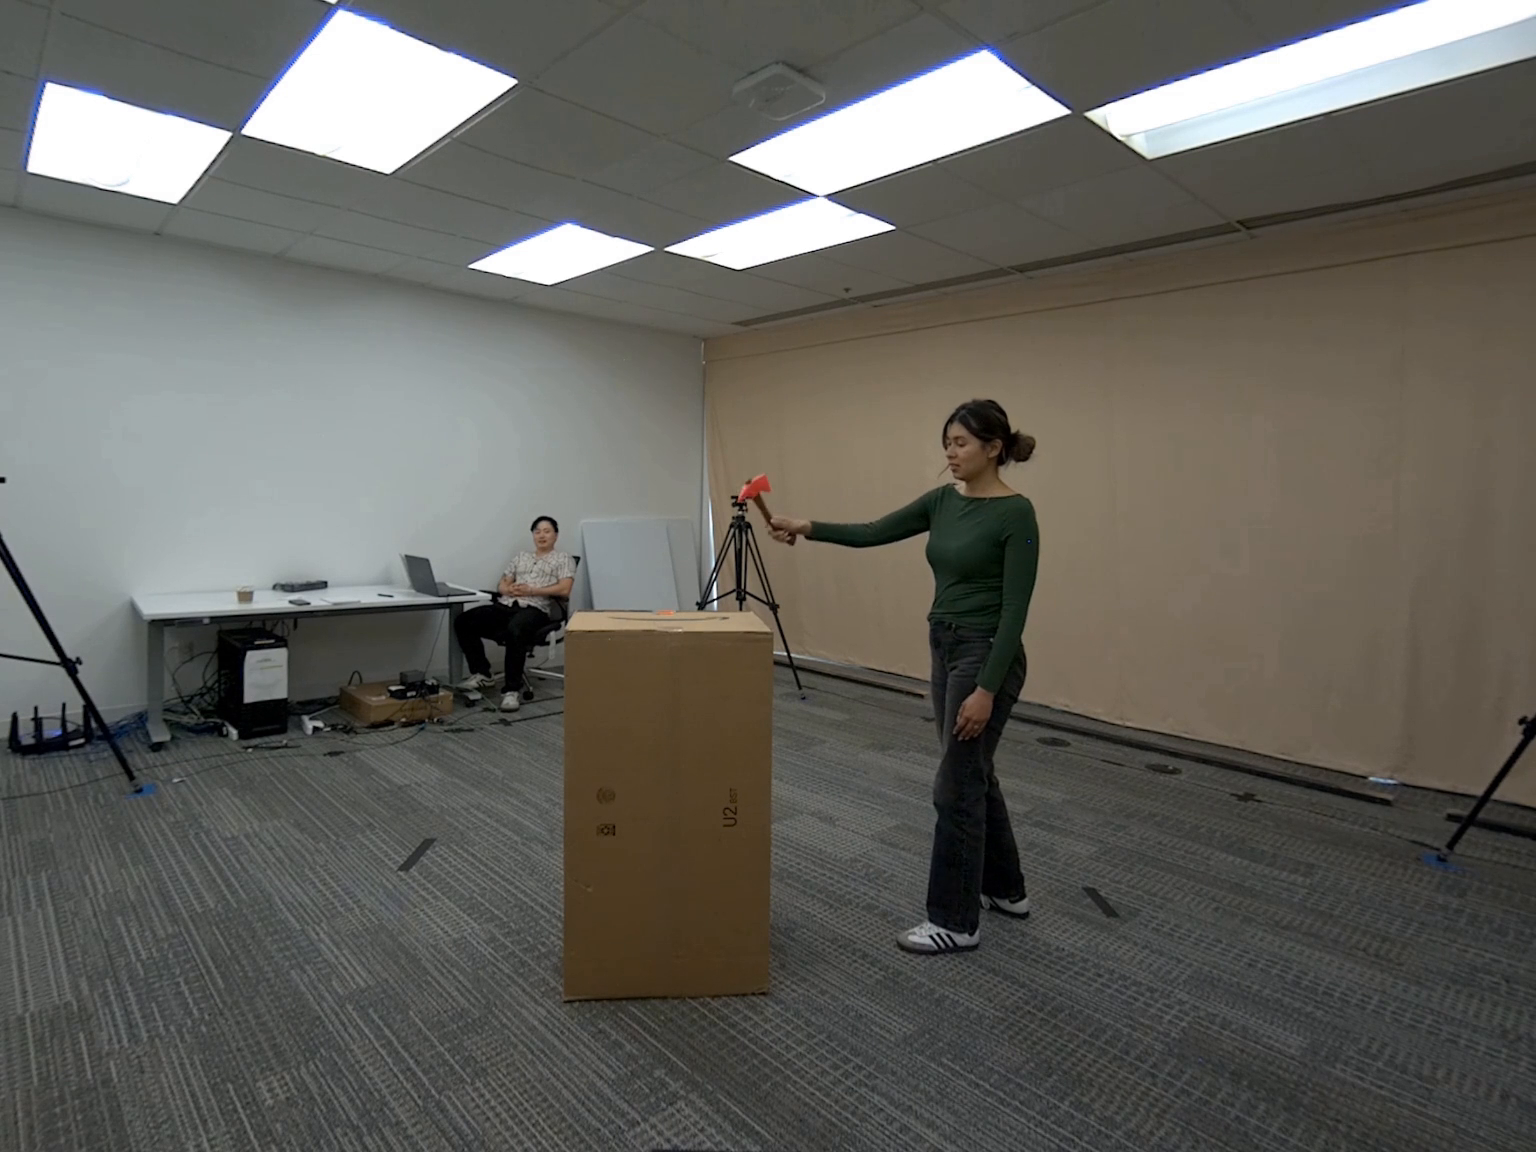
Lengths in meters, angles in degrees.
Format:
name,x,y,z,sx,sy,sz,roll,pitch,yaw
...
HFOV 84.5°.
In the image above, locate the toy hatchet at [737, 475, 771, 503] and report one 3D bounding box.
name,x,y,z,sx,sy,sz,roll,pitch,yaw
toy hatchet,0.034,-0.223,2.677,0.262,0.132,0.030,37,-25,-32
